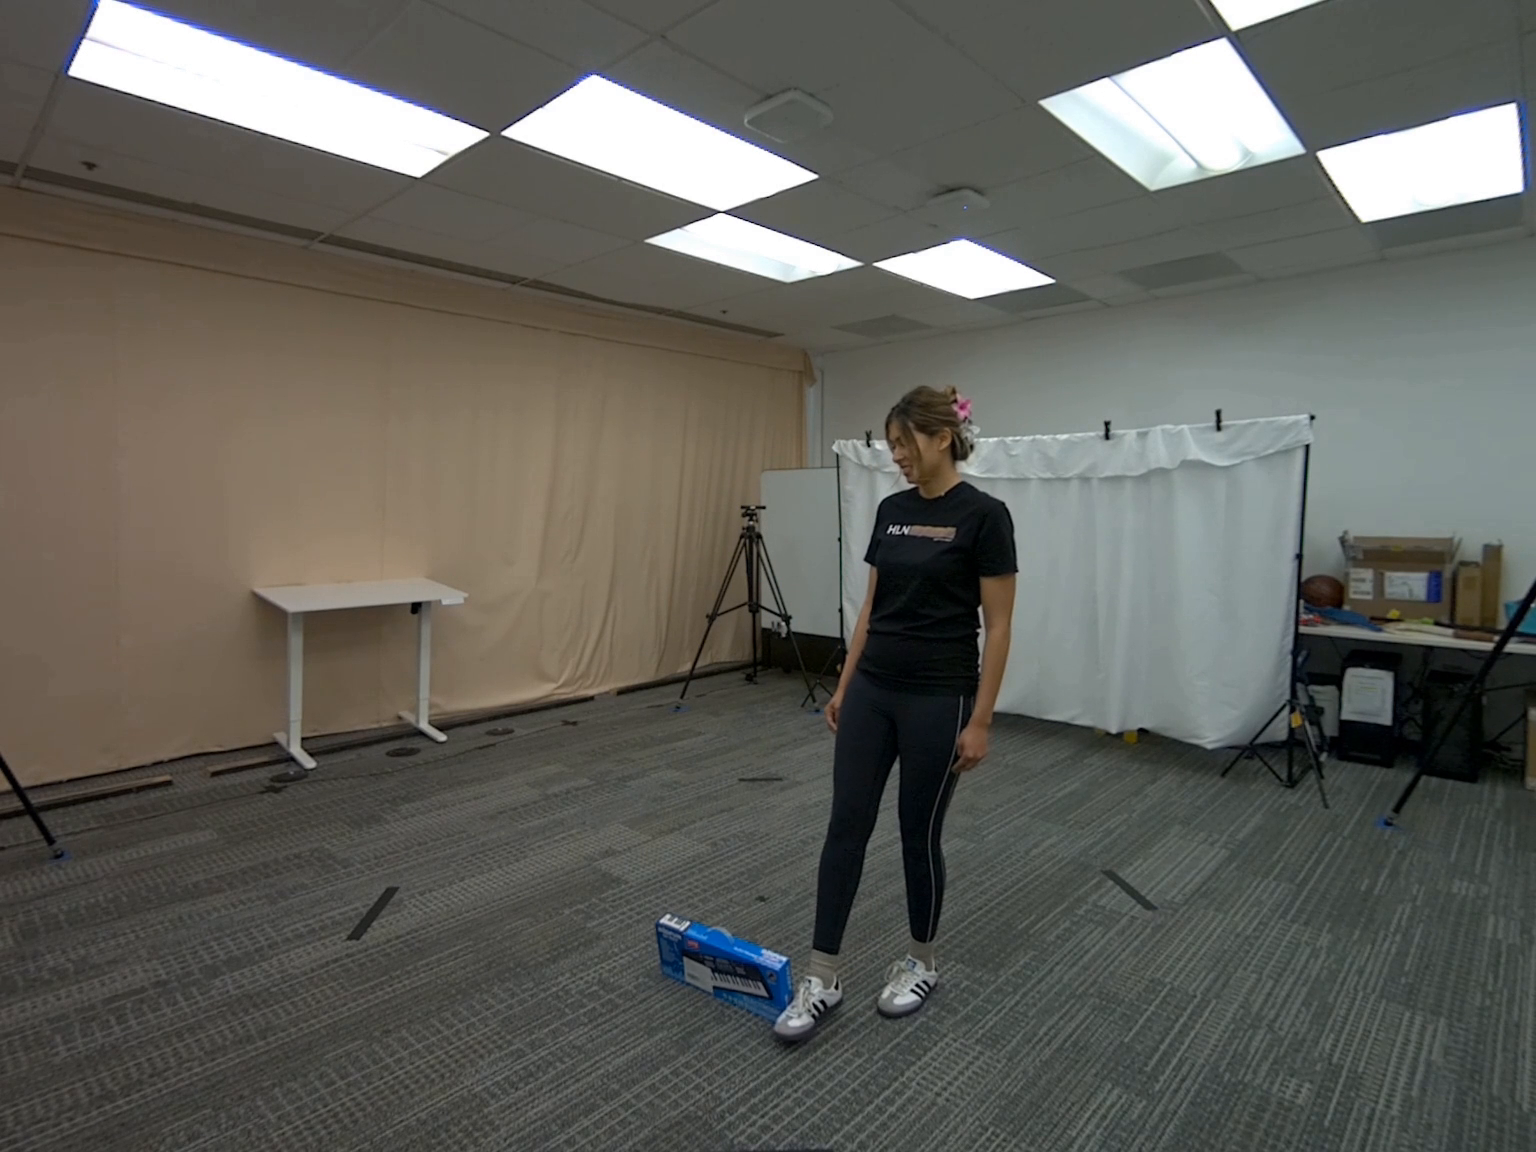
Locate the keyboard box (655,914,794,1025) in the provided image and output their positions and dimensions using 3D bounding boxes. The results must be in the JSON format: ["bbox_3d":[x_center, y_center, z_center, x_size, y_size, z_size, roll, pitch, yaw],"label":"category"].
[{"bbox_3d":[-0.127,1.109,2.384,0.451,0.174,0.058,3,13,36],"label":"keyboard box"}]
